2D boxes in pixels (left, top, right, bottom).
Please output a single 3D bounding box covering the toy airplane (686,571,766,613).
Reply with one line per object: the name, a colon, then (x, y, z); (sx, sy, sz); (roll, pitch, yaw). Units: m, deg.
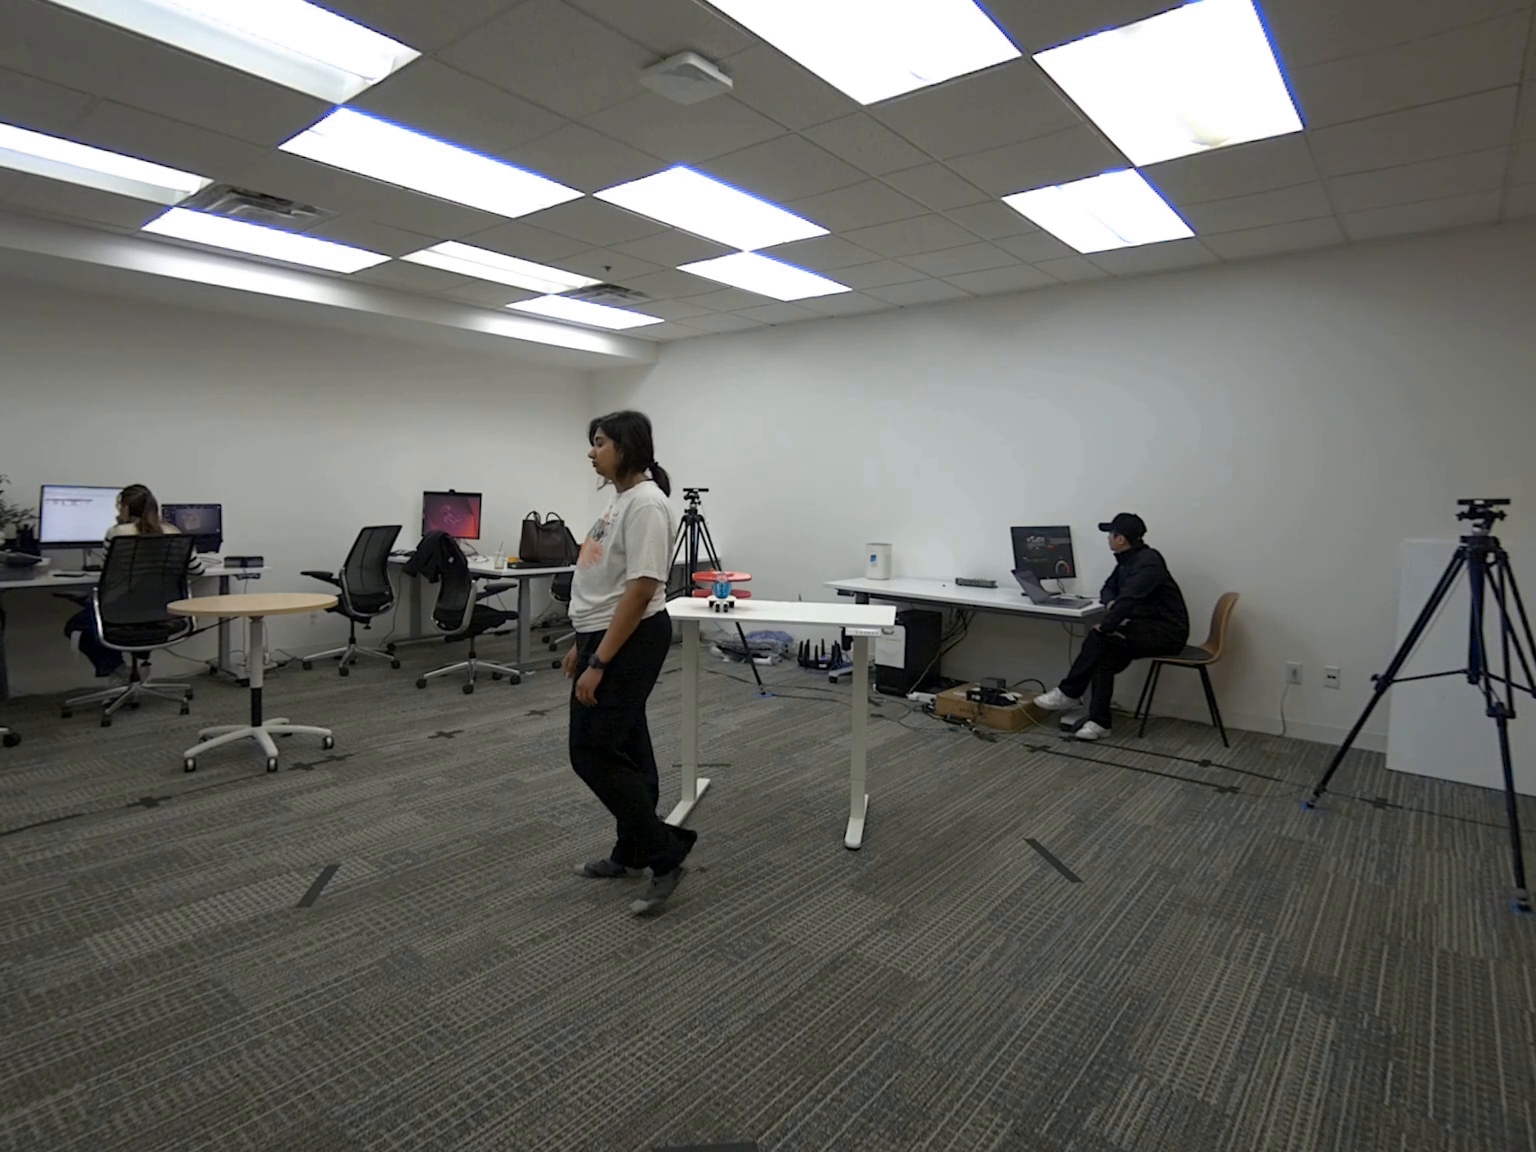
toy airplane: (-0.185, 0.061, 3.614); (0.245, 0.156, 0.266); (0, 2, -27)
